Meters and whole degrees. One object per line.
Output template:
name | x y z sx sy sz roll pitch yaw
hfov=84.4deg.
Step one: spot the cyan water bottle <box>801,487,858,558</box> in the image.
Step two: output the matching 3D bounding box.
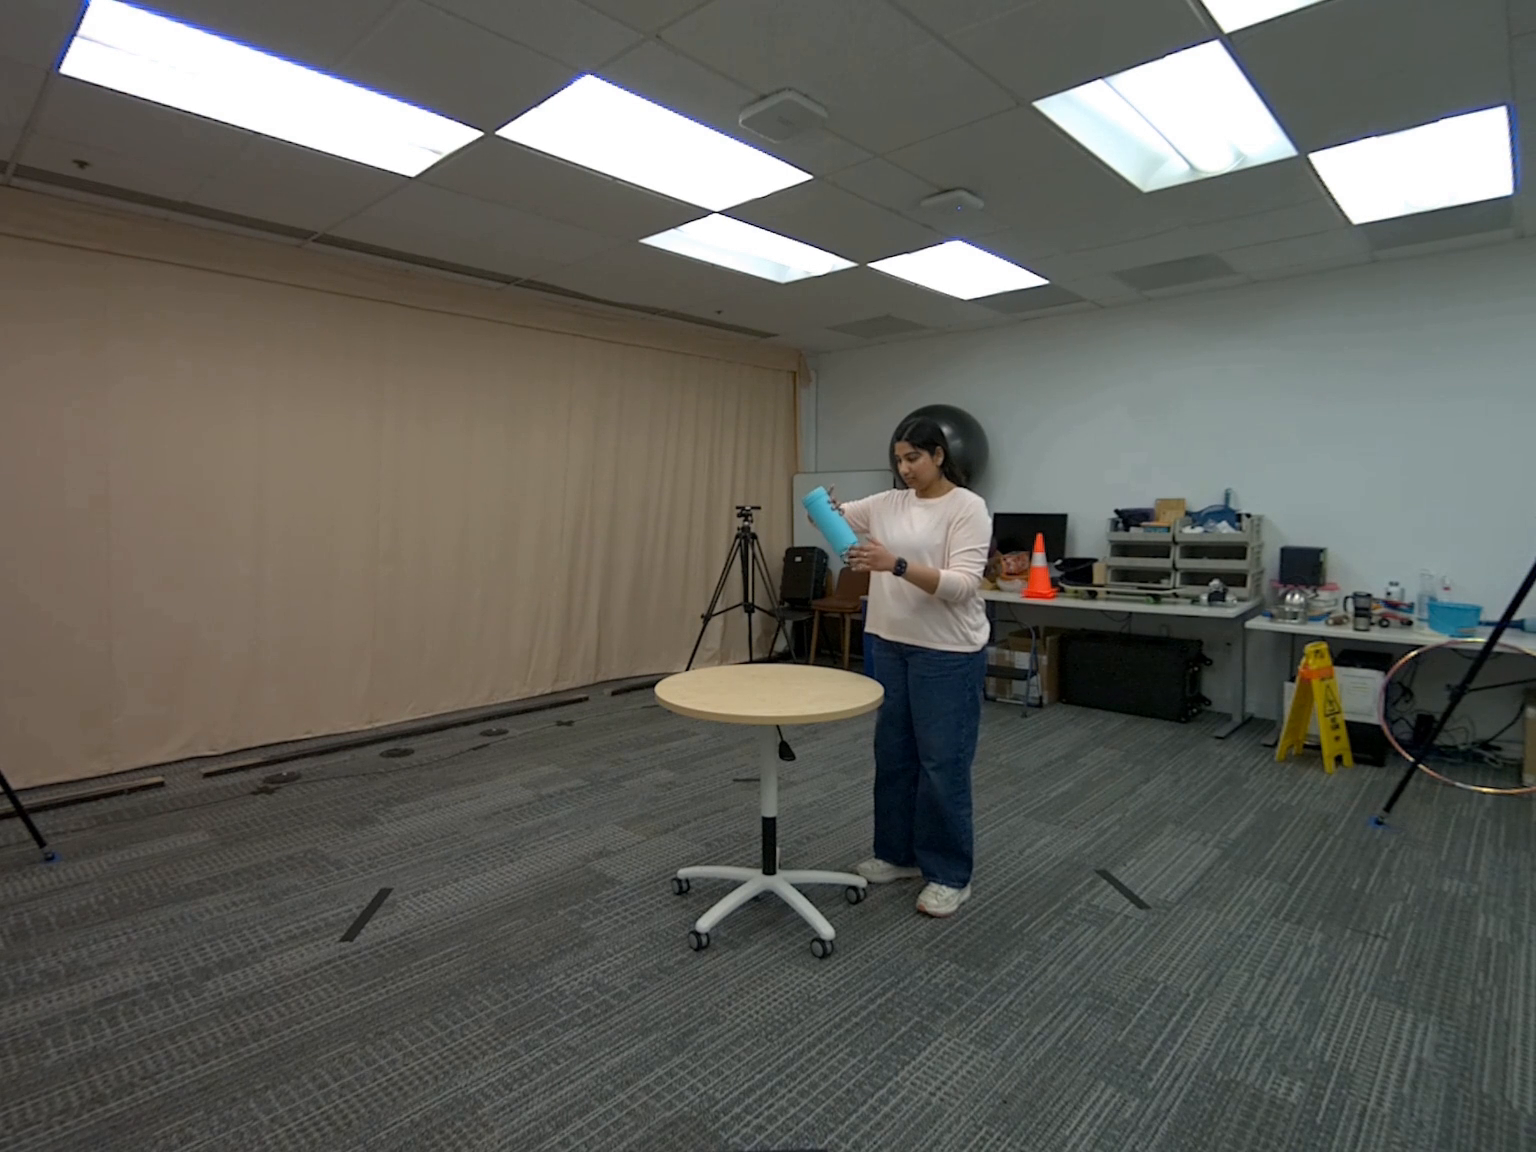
cyan water bottle | 0.236 -0.157 2.817 0.092 0.285 0.092 -32 -4 -4
